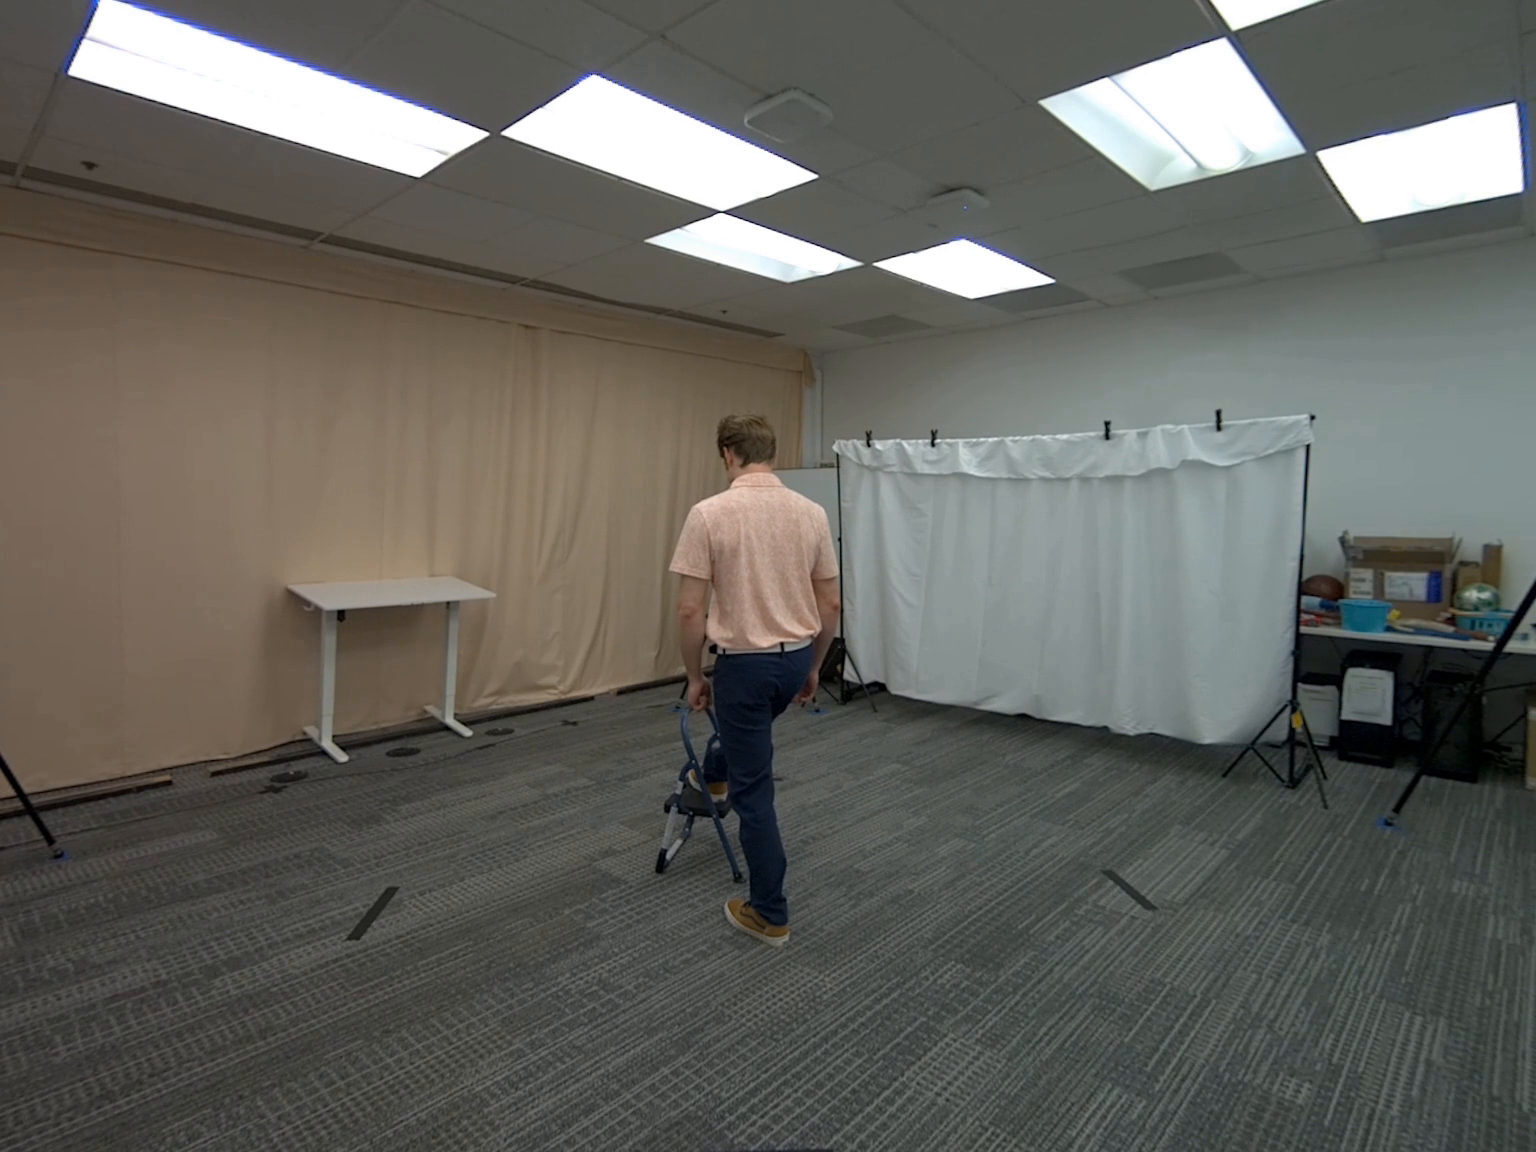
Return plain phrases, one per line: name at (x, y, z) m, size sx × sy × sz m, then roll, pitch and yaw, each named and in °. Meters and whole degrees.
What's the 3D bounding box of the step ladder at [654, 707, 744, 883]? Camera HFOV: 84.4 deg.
step ladder at (-0.229, 0.816, 3.338) m, size 0.354 × 0.605 × 0.426 m, roll 0°, pitch 3°, yaw 11°
